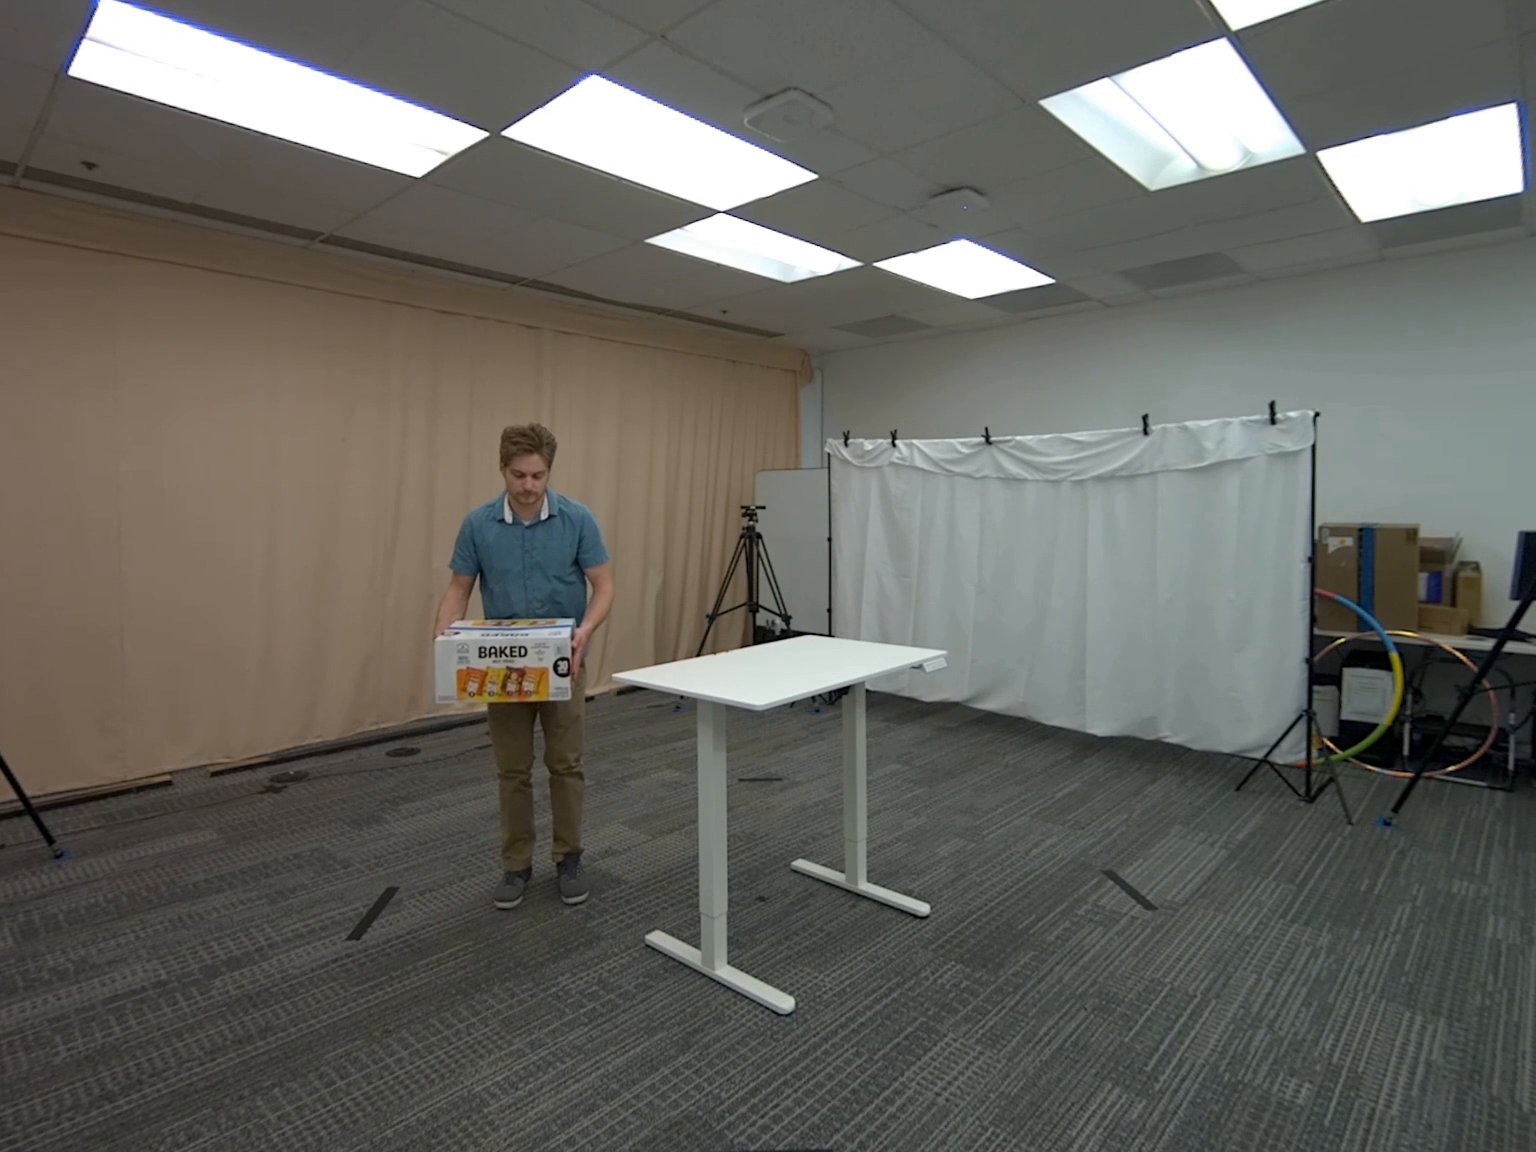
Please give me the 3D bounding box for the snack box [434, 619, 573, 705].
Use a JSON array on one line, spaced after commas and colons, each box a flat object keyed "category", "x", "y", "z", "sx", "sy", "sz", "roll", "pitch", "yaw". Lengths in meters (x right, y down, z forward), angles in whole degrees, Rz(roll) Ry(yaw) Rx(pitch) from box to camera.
[{"category": "snack box", "x": -0.830, "y": 0.266, "z": 2.733, "sx": 0.402, "sy": 0.205, "sz": 0.344, "roll": -1, "pitch": 5, "yaw": -8}]
